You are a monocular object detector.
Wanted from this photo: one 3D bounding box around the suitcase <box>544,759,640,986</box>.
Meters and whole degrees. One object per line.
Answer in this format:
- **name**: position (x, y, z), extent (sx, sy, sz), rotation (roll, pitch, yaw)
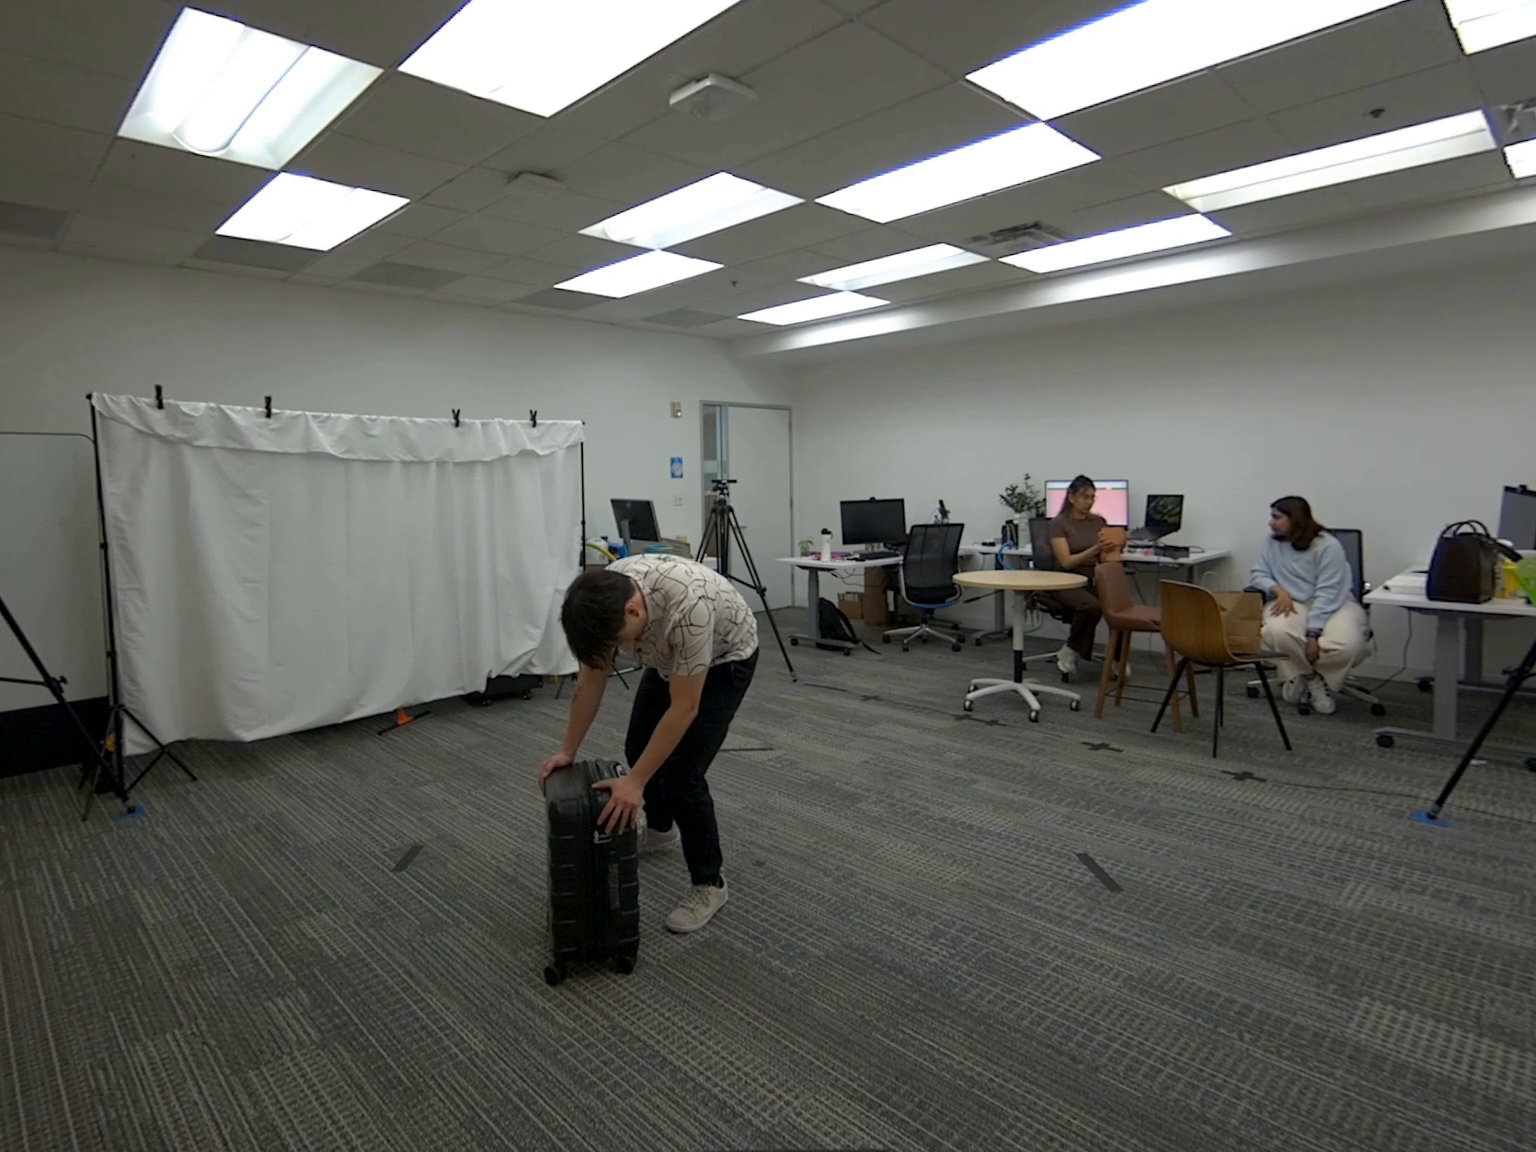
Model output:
- **suitcase**: position (-0.519, 0.845, 2.546), extent (0.245, 0.547, 0.382), rotation (-1, 6, -15)
